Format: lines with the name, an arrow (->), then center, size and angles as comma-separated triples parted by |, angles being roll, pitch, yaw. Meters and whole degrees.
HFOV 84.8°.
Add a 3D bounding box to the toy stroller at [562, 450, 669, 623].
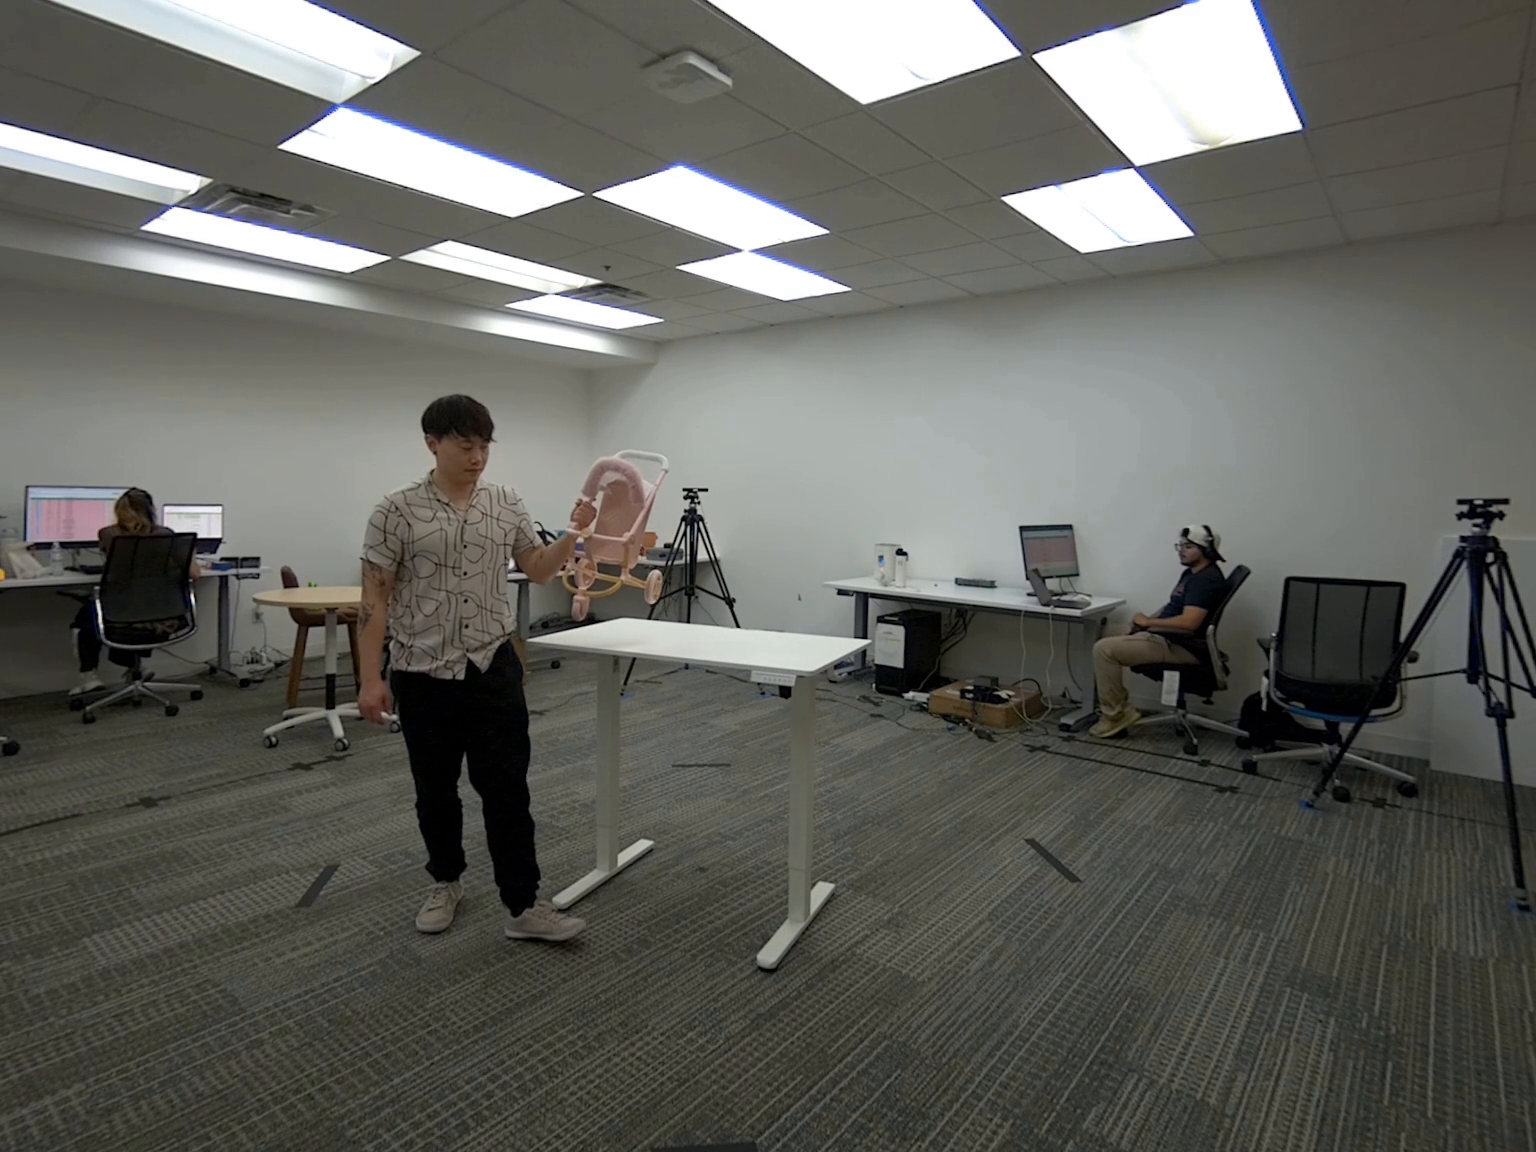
toy stroller -> -0.503, -0.135, 2.662 | 0.289, 0.533, 0.334 | 12, 5, 21
